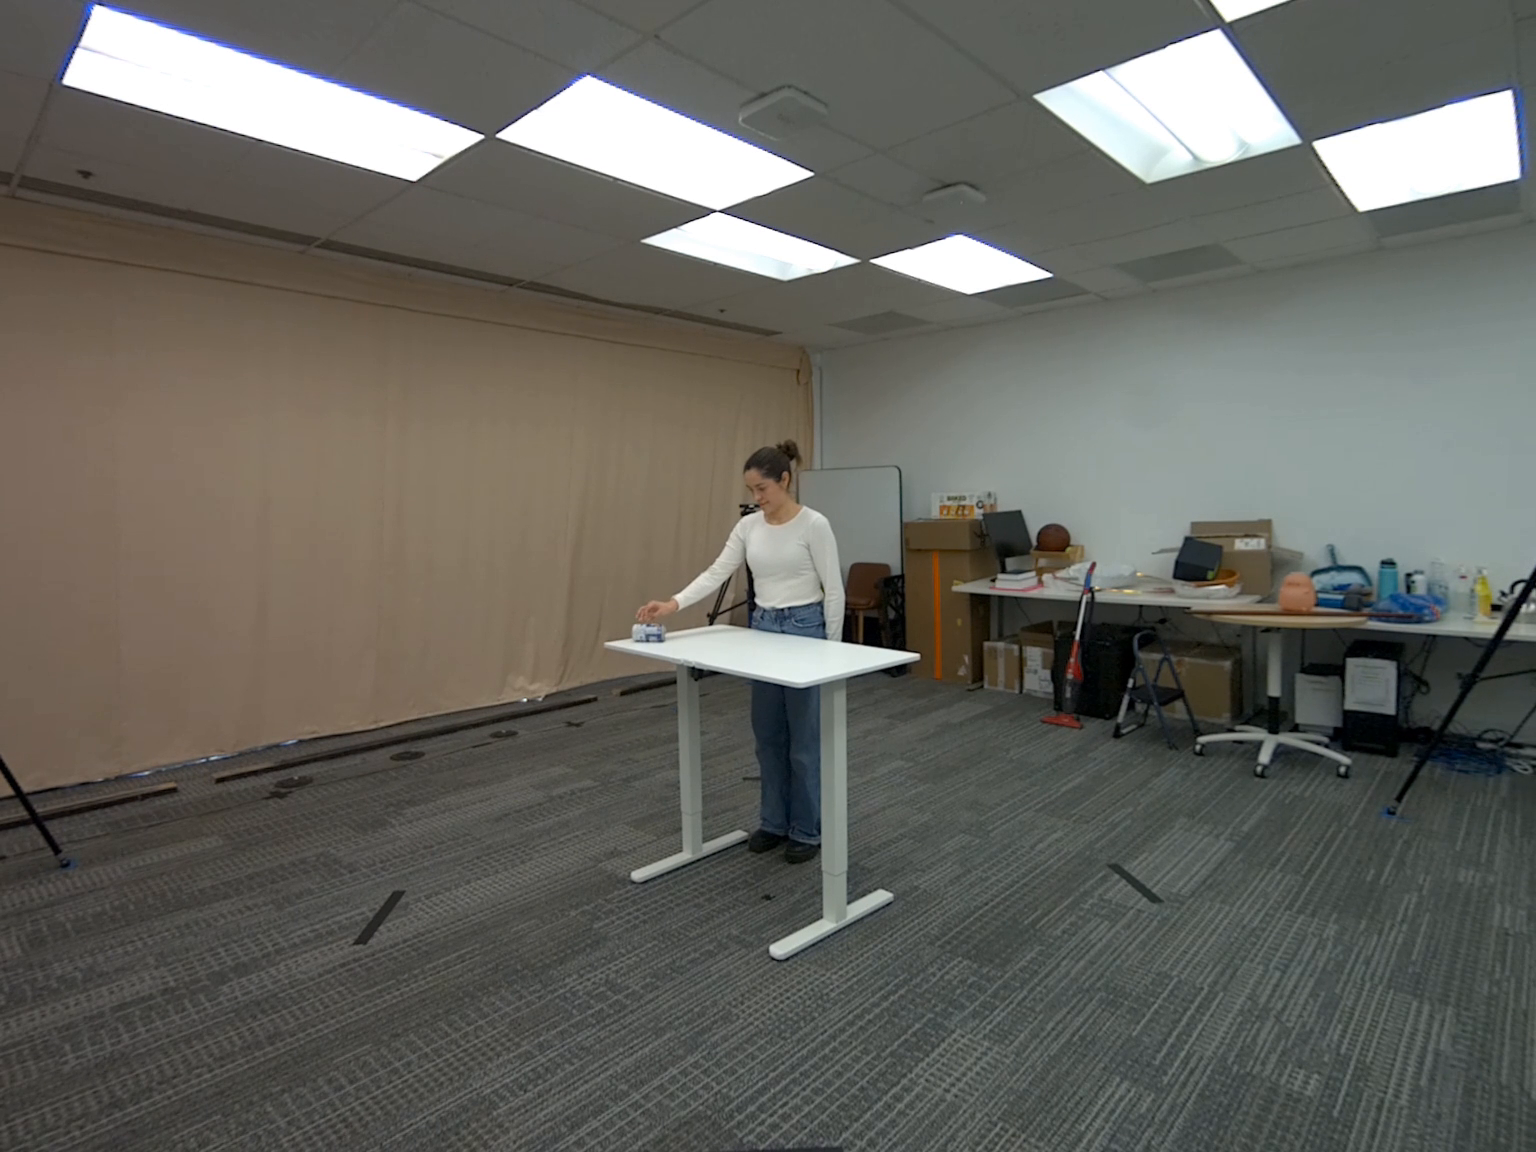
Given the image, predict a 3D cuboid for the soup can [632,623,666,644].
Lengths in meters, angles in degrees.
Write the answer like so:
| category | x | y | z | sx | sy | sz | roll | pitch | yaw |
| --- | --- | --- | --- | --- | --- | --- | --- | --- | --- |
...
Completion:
| category | x | y | z | sx | sy | sz | roll | pitch | yaw |
| --- | --- | --- | --- | --- | --- | --- | --- | --- | --- |
| soup can | -0.450 | 0.212 | 3.172 | 0.122 | 0.067 | 0.067 | 1 | 4 | 6 |
